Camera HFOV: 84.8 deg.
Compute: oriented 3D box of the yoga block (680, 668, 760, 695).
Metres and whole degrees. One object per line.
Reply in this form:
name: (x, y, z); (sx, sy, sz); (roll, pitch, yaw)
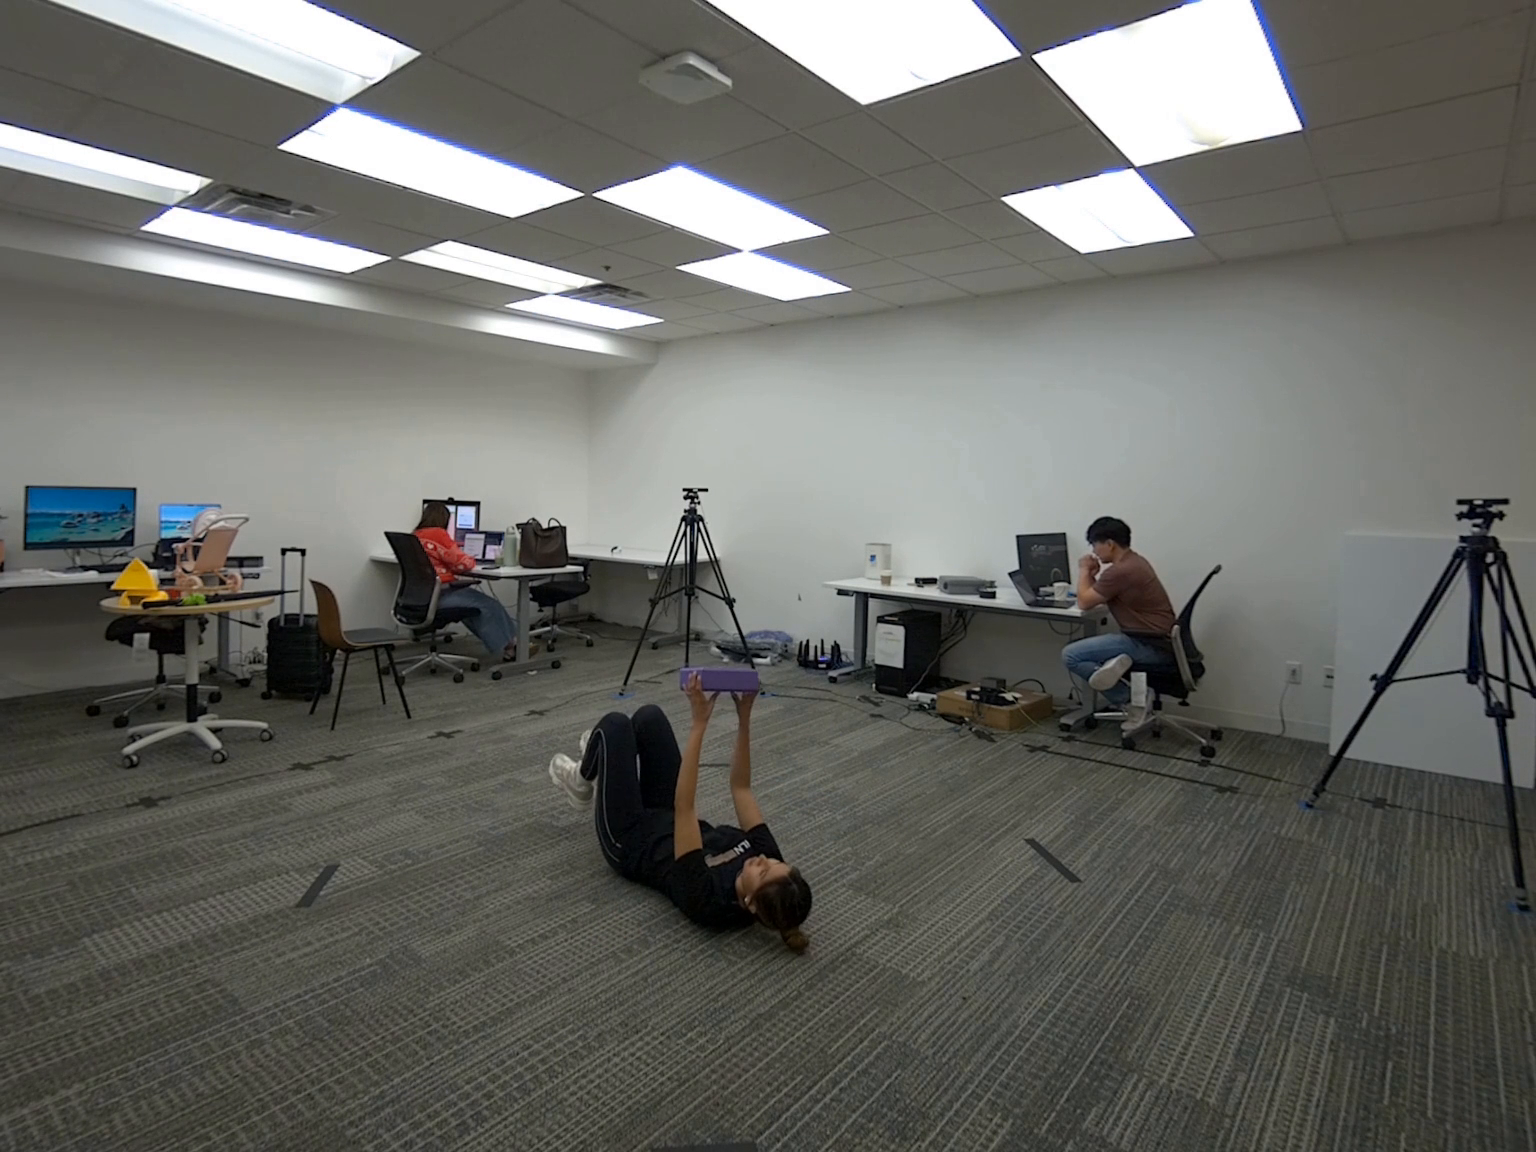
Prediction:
yoga block: (-0.166, 0.353, 2.876); (0.222, 0.077, 0.152); (7, -10, -36)
